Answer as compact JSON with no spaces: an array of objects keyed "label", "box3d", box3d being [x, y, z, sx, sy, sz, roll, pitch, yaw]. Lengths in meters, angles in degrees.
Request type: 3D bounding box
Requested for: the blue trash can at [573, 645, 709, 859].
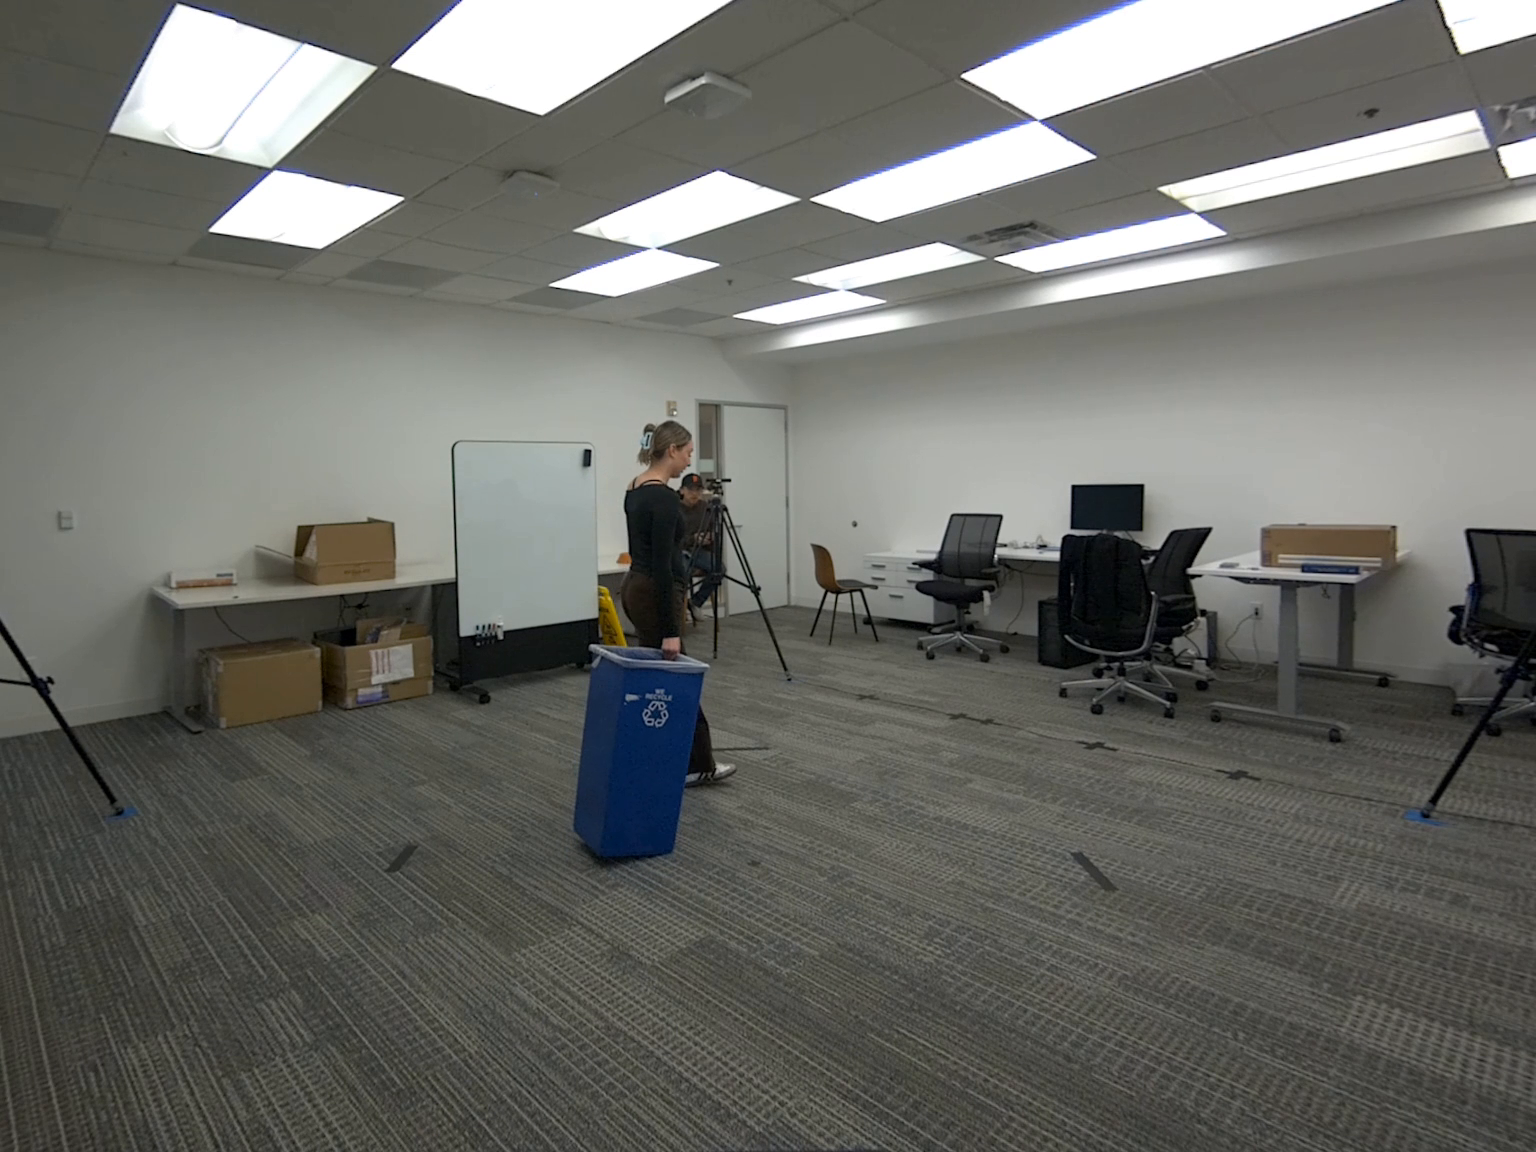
[{"label":"blue trash can","box3d":[-0.503,0.656,3.275,0.363,0.714,0.389,8,-1,-31]}]
